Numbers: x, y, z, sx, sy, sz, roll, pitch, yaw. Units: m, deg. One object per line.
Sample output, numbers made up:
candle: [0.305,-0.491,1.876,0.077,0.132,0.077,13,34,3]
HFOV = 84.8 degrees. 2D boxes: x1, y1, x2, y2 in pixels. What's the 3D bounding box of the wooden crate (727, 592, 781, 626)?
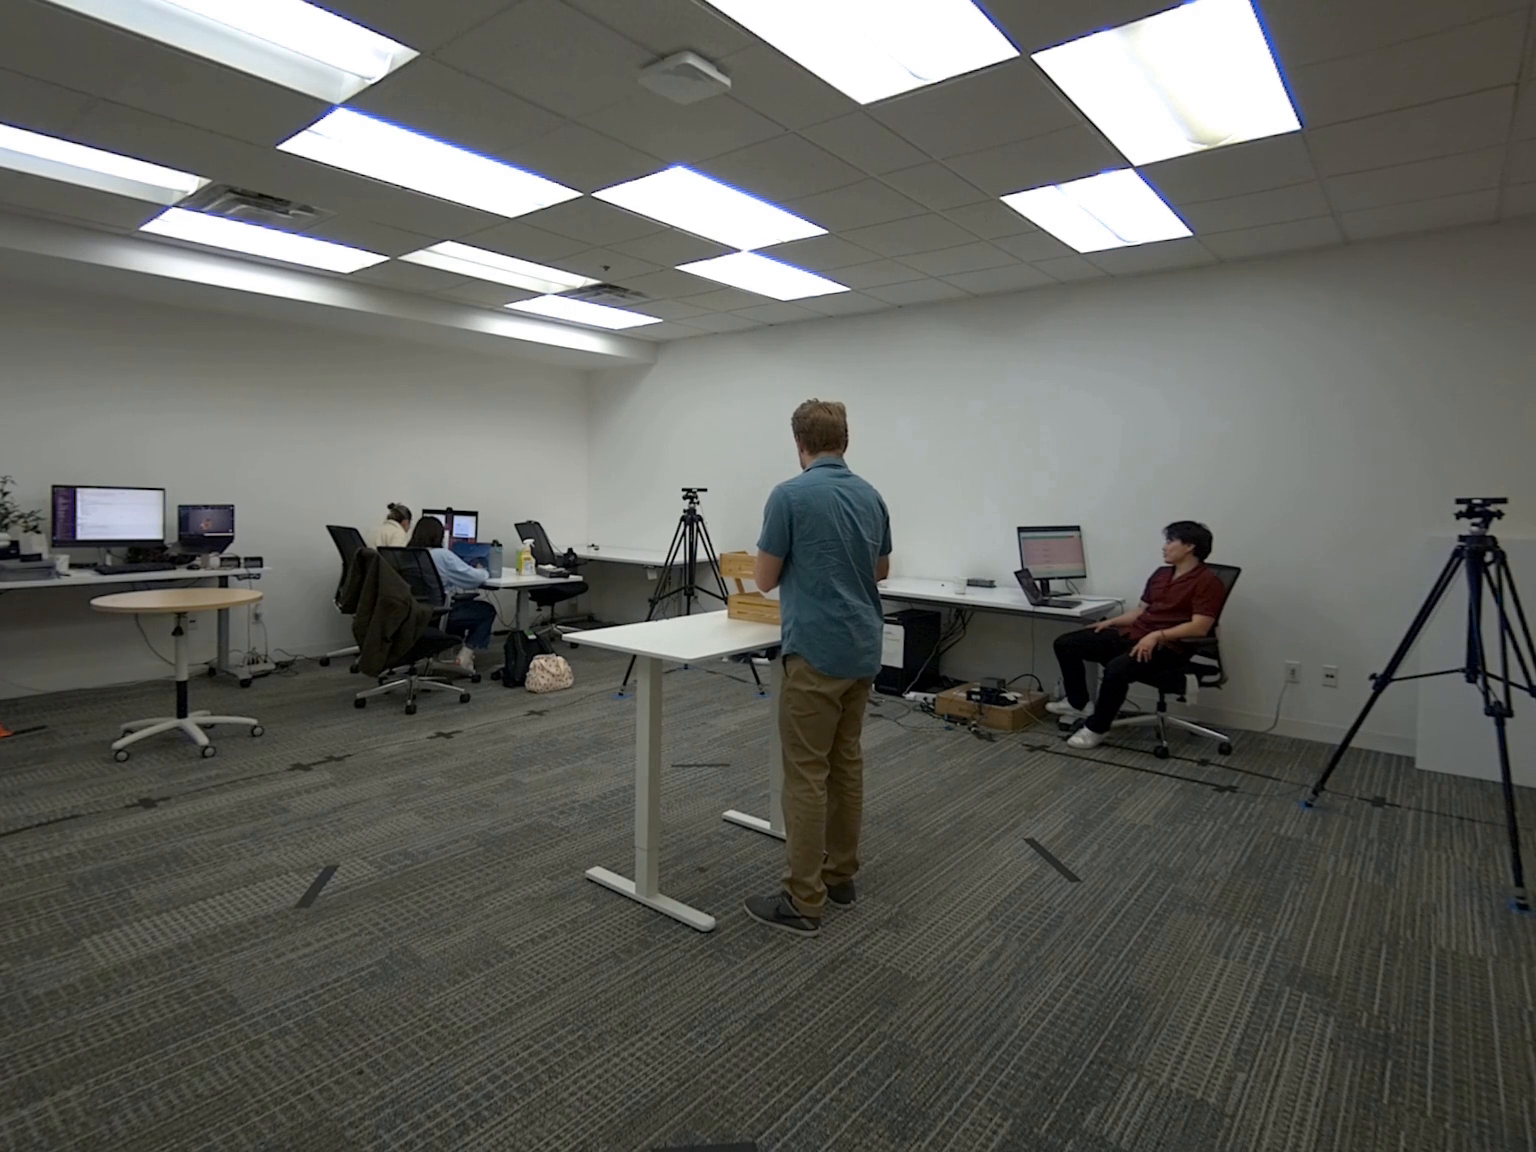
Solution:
wooden crate: [0.011,0.033,3.334,0.335,0.272,0.293,5,7,38]
